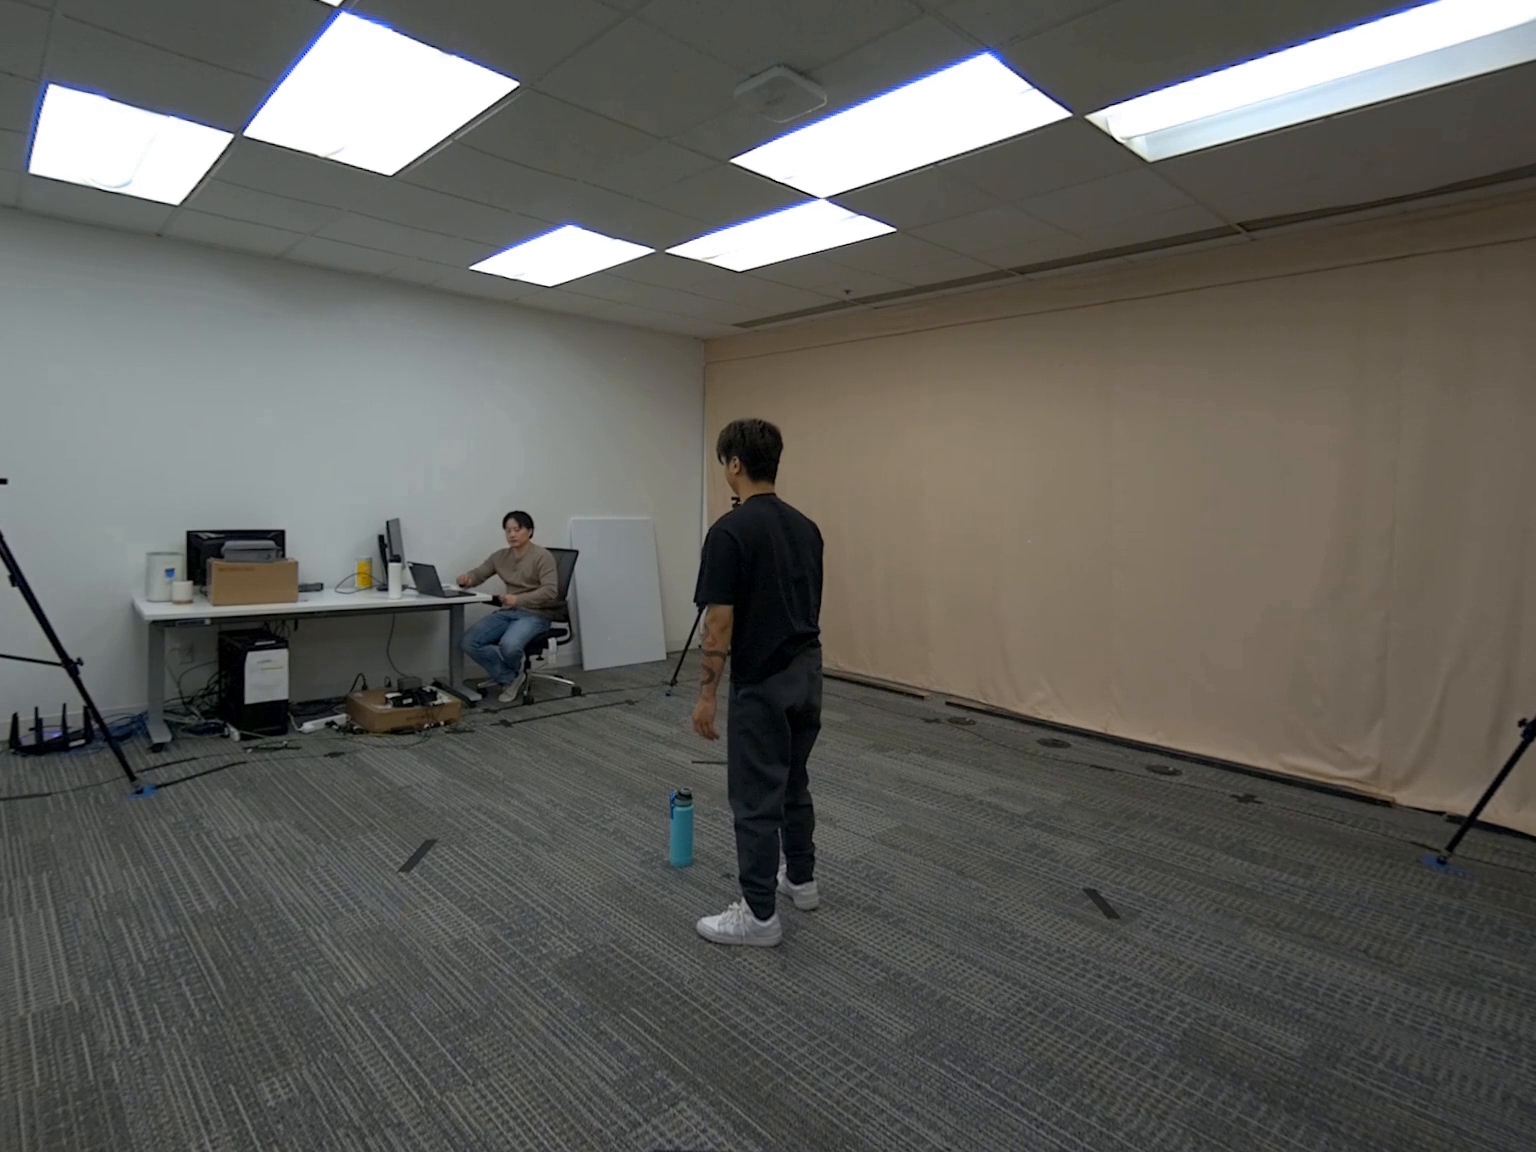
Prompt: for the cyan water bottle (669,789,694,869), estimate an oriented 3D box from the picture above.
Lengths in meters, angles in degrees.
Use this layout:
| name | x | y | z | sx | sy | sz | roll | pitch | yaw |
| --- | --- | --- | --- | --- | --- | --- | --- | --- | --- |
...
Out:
| name | x | y | z | sx | sy | sz | roll | pitch | yaw |
| --- | --- | --- | --- | --- | --- | --- | --- | --- | --- |
| cyan water bottle | -0.339 | 0.952 | 3.206 | 0.092 | 0.283 | 0.092 | 1 | 4 | -1 |
